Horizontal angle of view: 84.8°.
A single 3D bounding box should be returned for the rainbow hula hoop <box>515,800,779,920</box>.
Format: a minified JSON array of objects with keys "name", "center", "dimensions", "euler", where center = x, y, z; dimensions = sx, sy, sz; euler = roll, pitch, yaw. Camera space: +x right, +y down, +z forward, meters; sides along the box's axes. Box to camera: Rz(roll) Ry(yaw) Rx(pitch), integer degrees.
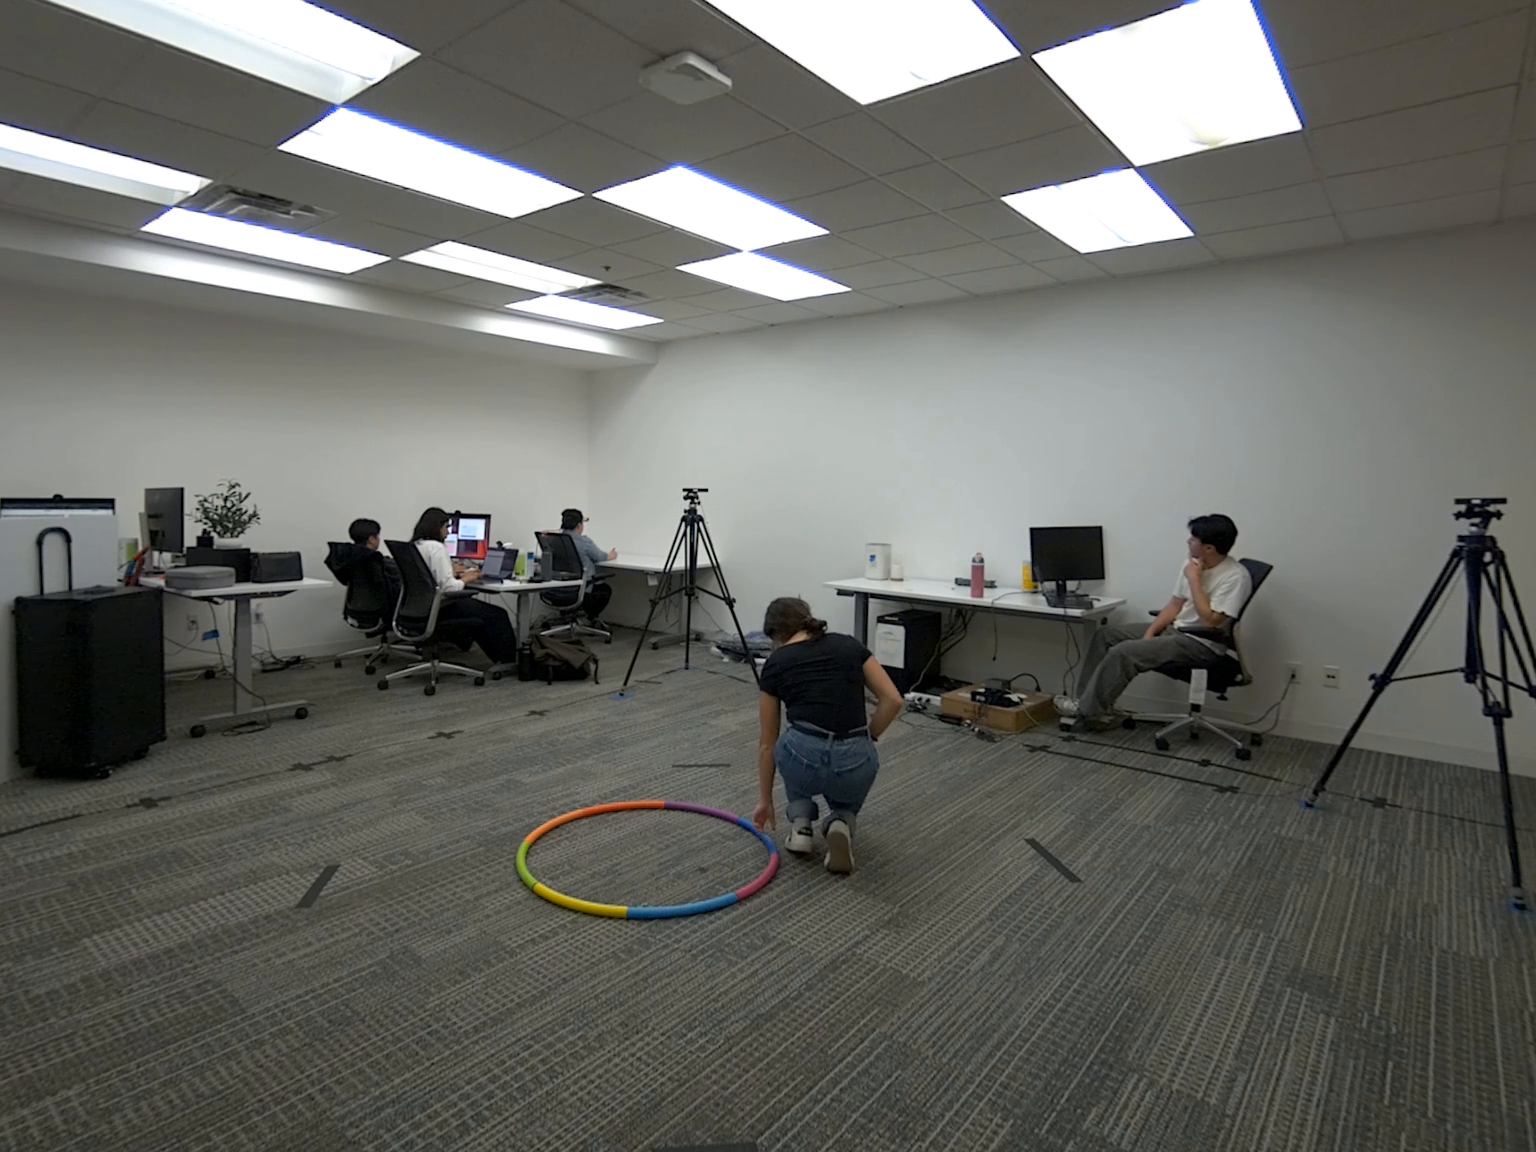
[{"name":"rainbow hula hoop","center":[-0.446,1.020,3.215],"dimensions":[0.978,0.035,0.984],"euler":[1,6,-2]}]
